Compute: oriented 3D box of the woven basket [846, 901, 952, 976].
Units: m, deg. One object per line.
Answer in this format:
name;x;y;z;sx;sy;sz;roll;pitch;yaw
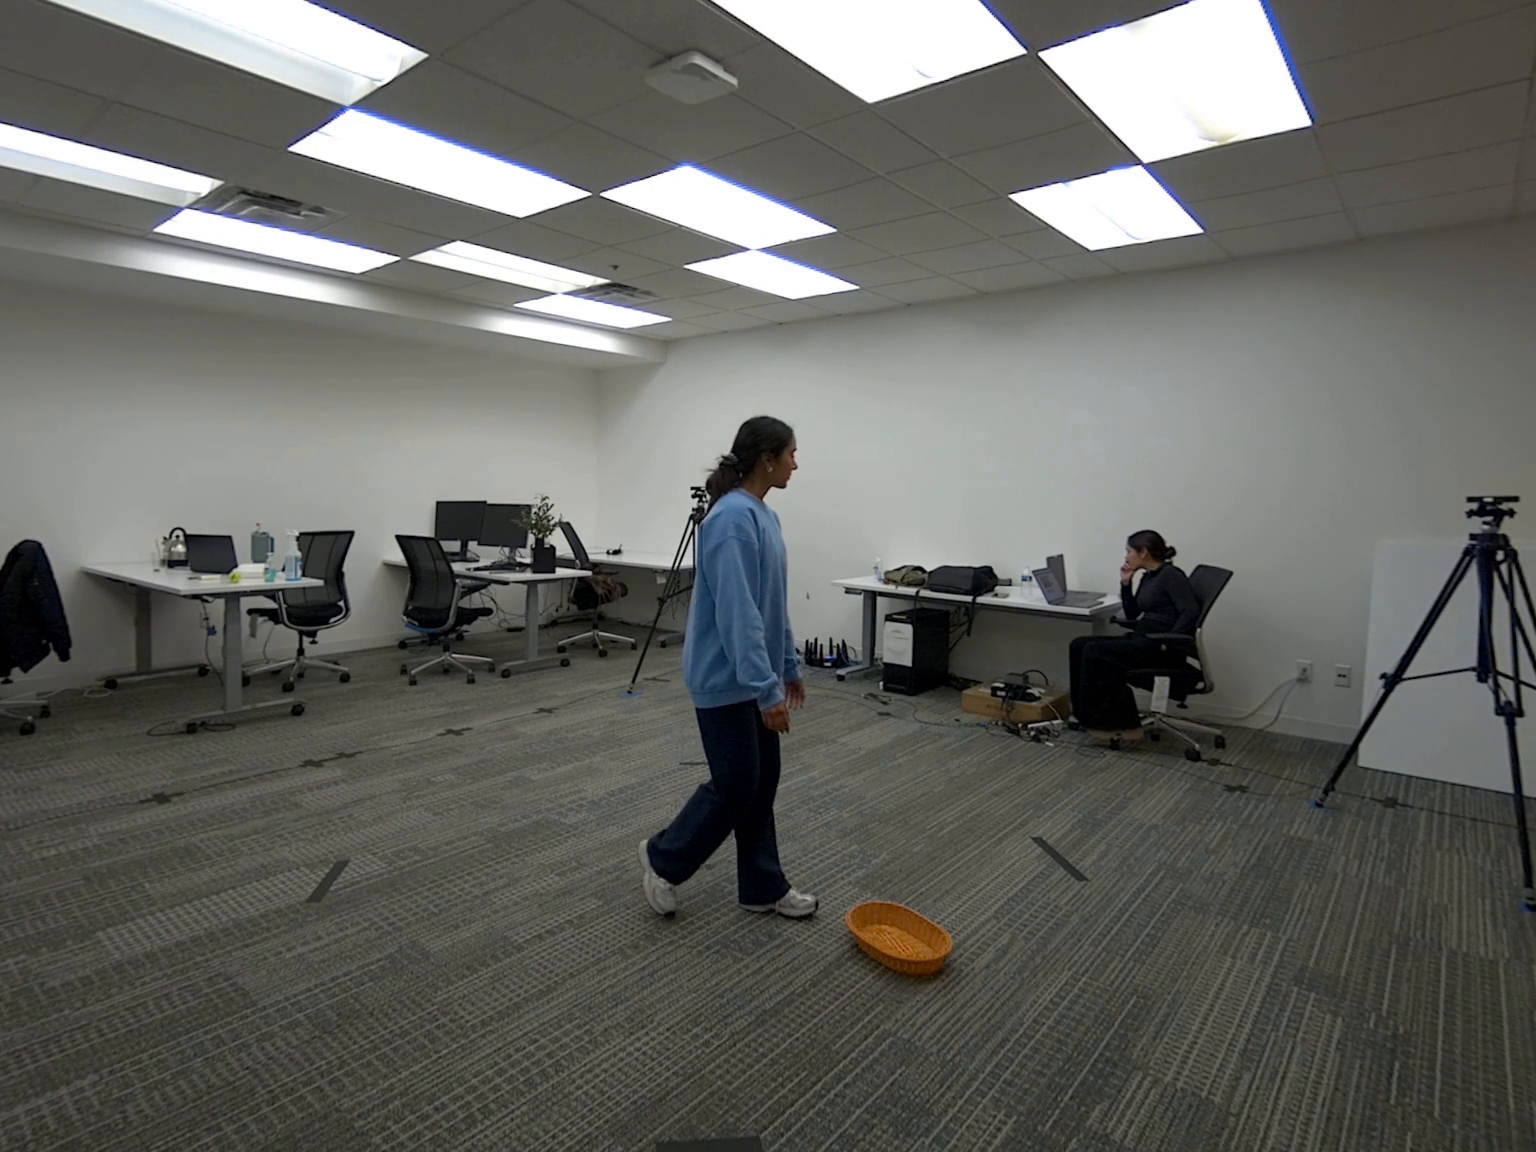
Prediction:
woven basket;0.382;1.089;2.571;0.246;0.073;0.361;-3;7;-29
